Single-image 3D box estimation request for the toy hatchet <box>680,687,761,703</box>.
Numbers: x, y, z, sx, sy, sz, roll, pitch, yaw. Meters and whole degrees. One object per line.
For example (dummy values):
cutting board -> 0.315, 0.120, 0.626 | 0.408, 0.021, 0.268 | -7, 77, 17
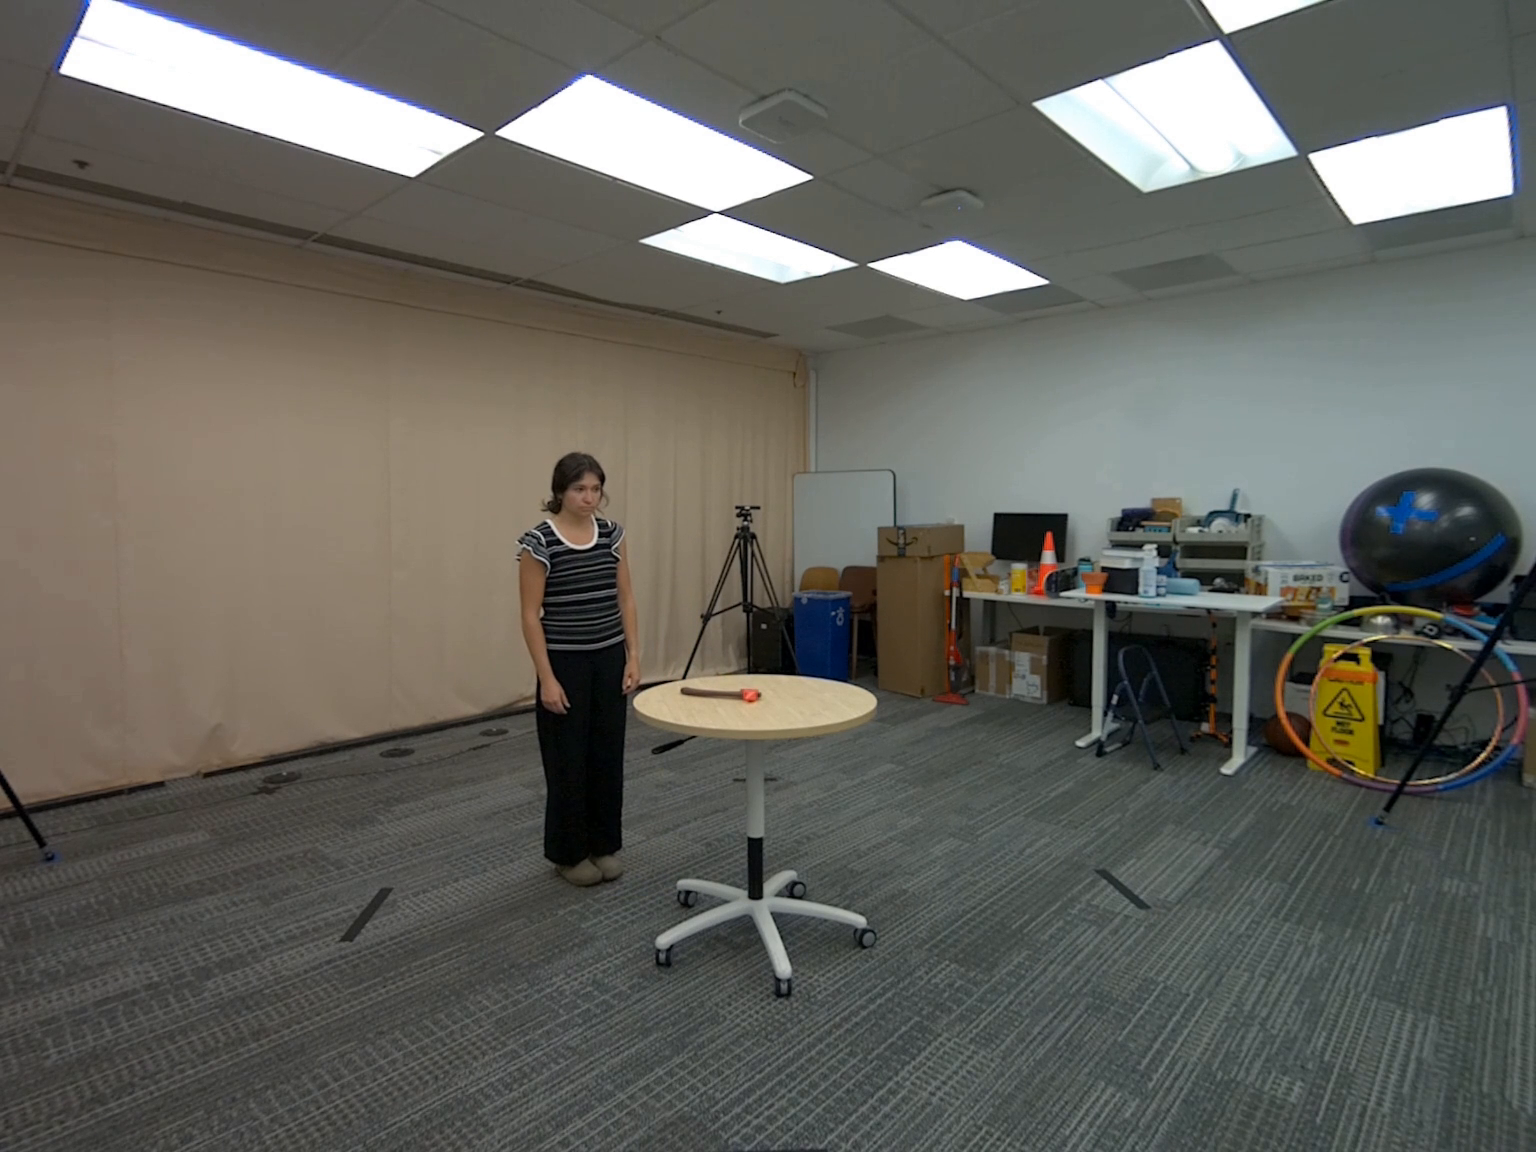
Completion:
toy hatchet -> -0.140, 0.374, 2.700 | 0.278, 0.029, 0.127 | 1, 4, 33
